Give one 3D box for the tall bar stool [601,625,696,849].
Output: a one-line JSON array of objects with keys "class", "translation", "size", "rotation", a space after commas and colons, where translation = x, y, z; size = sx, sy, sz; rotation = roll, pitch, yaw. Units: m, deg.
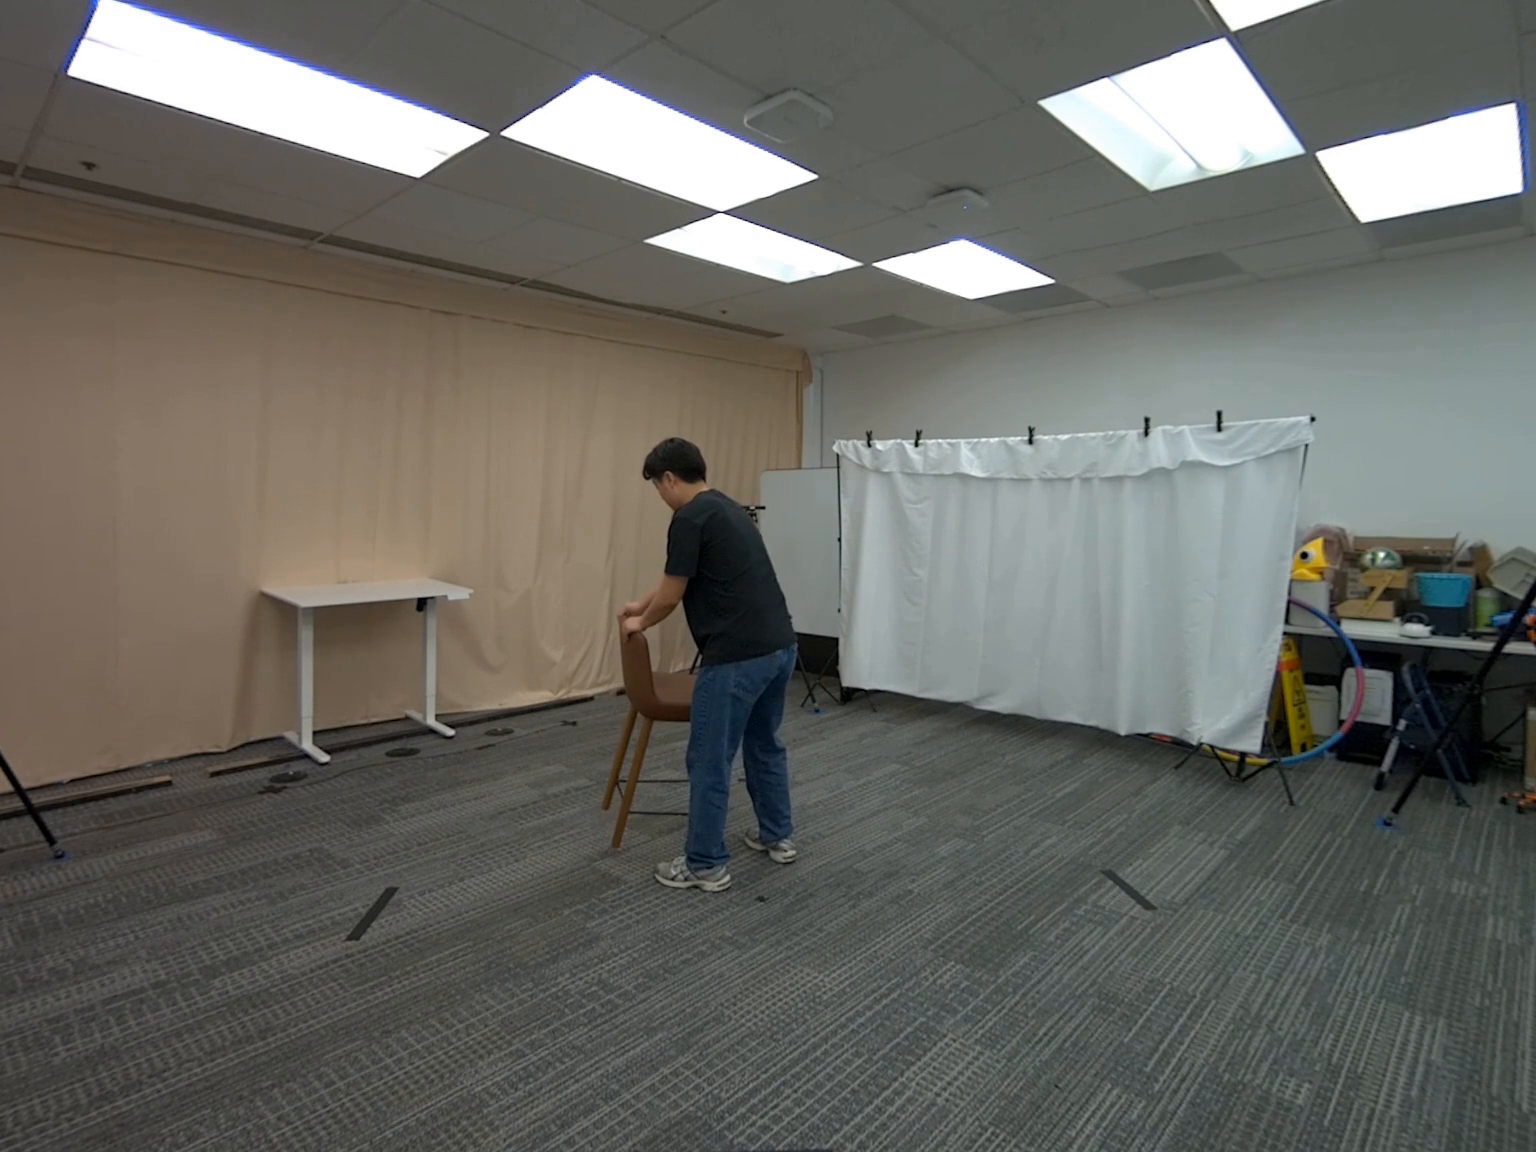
[{"class": "tall bar stool", "translation": [-0.405, 0.630, 3.486], "size": [0.459, 0.887, 0.466], "rotation": [4, 7, -17]}]
